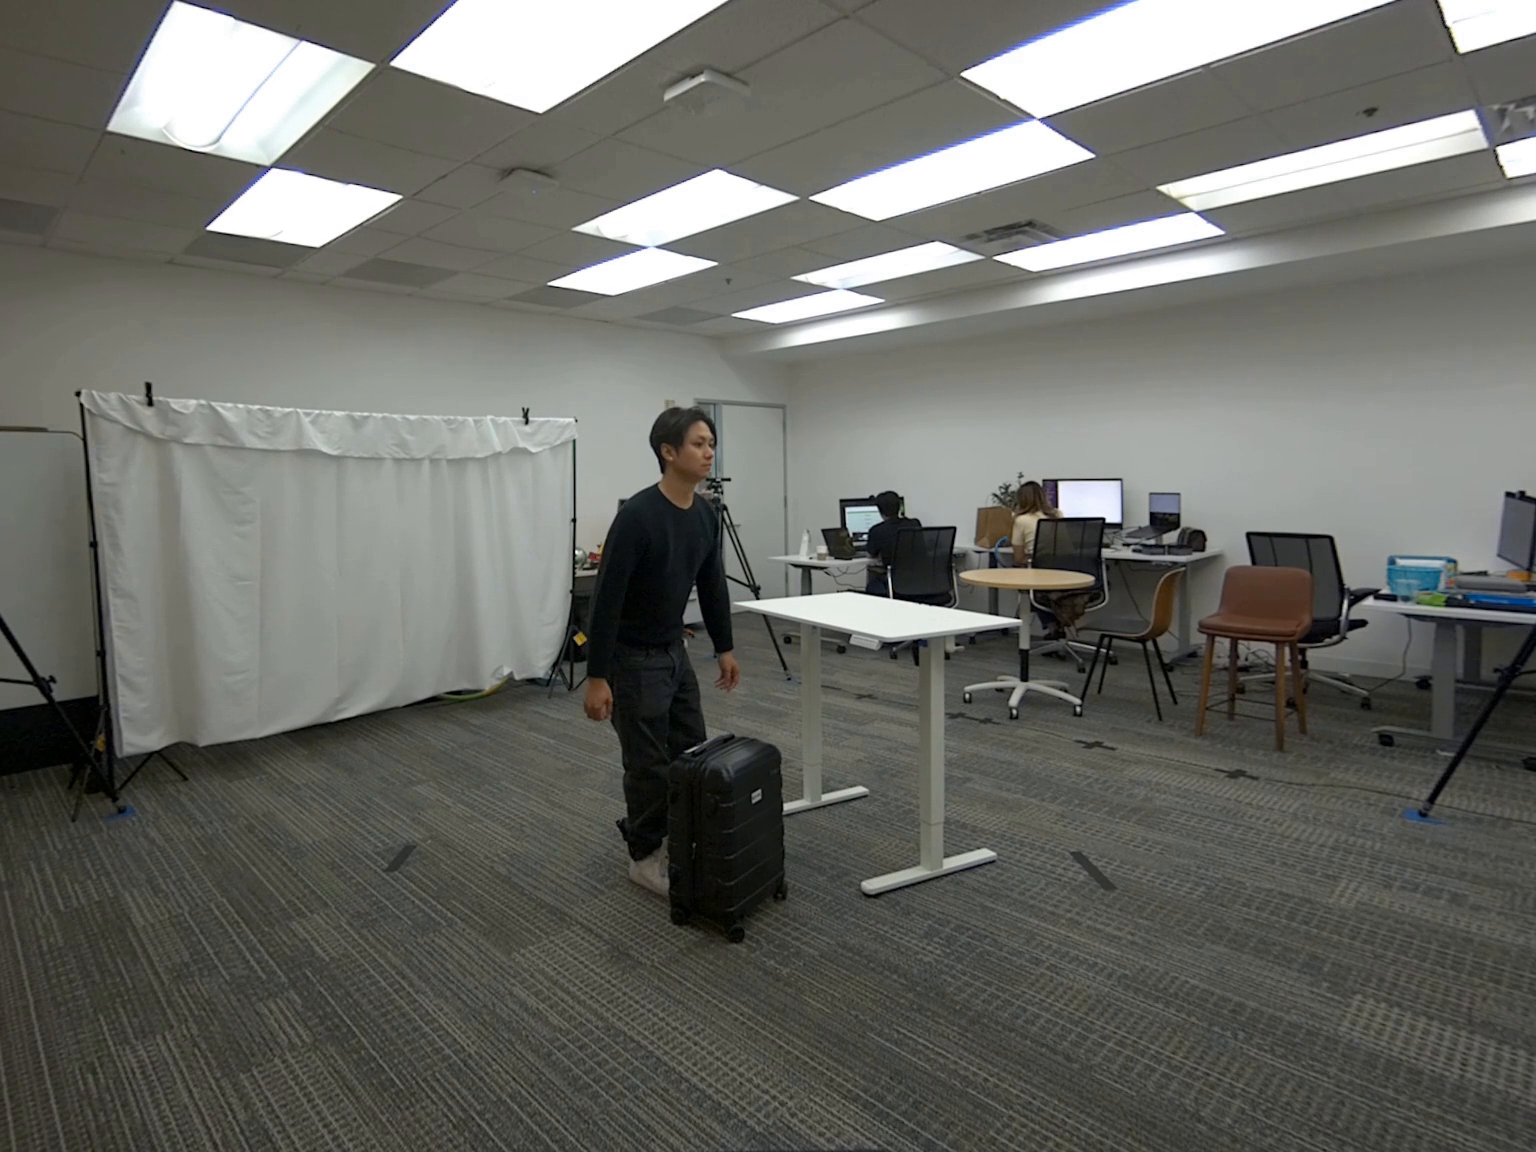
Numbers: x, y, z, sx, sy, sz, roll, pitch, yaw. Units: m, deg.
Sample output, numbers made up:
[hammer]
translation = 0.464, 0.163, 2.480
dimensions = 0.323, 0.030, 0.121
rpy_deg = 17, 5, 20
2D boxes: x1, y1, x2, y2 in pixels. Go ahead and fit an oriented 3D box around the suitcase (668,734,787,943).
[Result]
[suitcase]
translation = -0.126, 0.808, 2.738
dimensions = 0.255, 0.547, 0.366
rpy_deg = 2, 5, 34
